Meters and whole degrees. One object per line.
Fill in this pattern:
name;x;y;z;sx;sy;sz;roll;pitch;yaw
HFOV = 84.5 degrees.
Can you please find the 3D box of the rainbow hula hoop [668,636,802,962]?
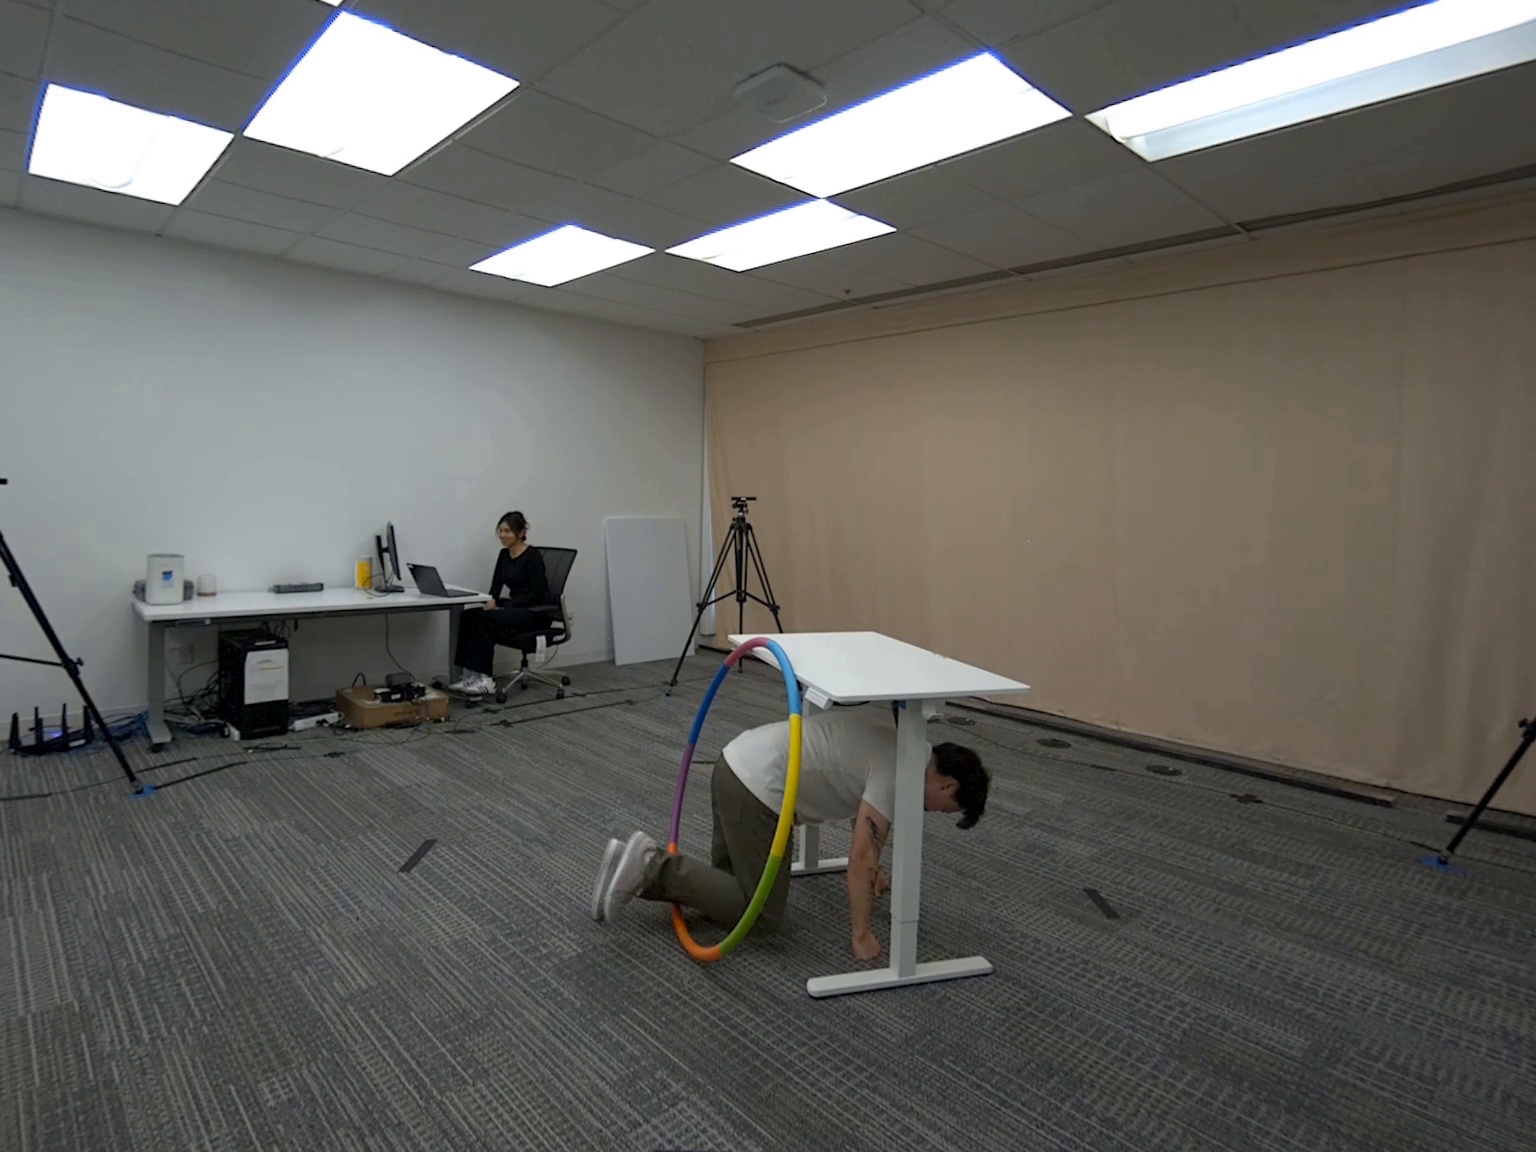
rainbow hula hoop;-0.138;0.678;2.656;0.035;0.979;0.995;18;-1;-20
